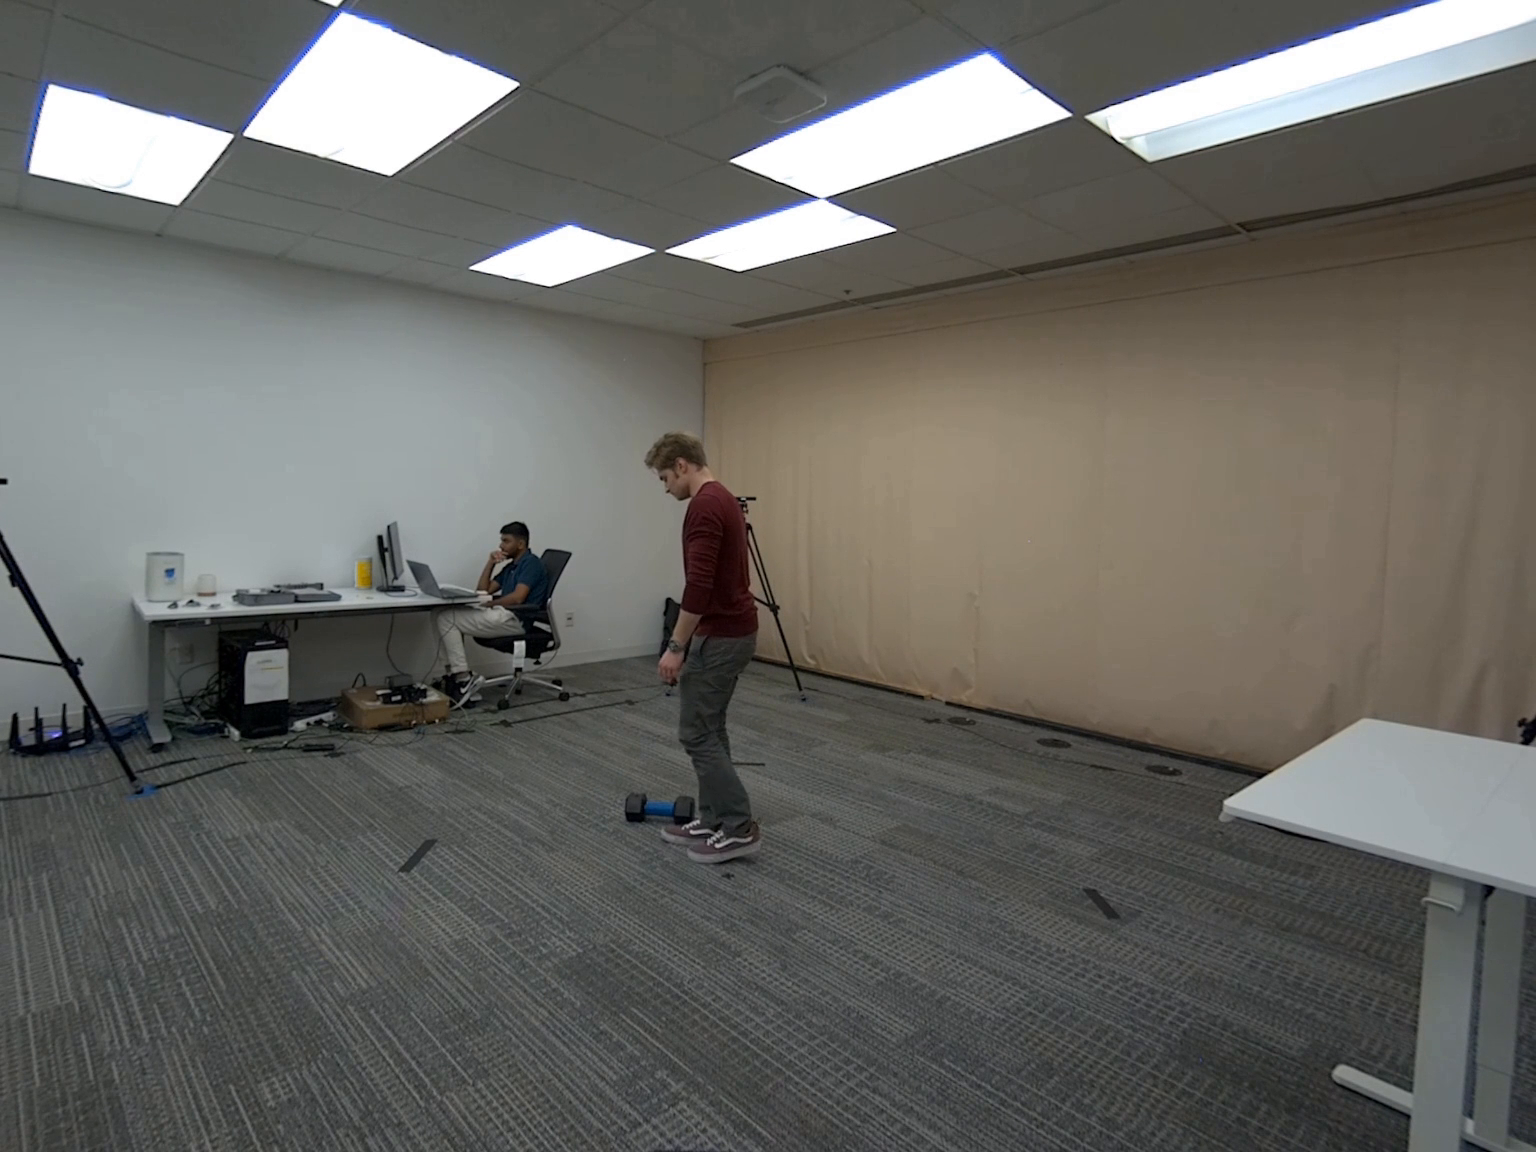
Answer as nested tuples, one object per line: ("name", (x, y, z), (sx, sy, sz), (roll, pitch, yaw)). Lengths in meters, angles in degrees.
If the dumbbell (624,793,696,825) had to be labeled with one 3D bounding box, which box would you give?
("dumbbell", (-0.475, 1.002, 3.614), (0.295, 0.120, 0.110), (2, 35, 6))
